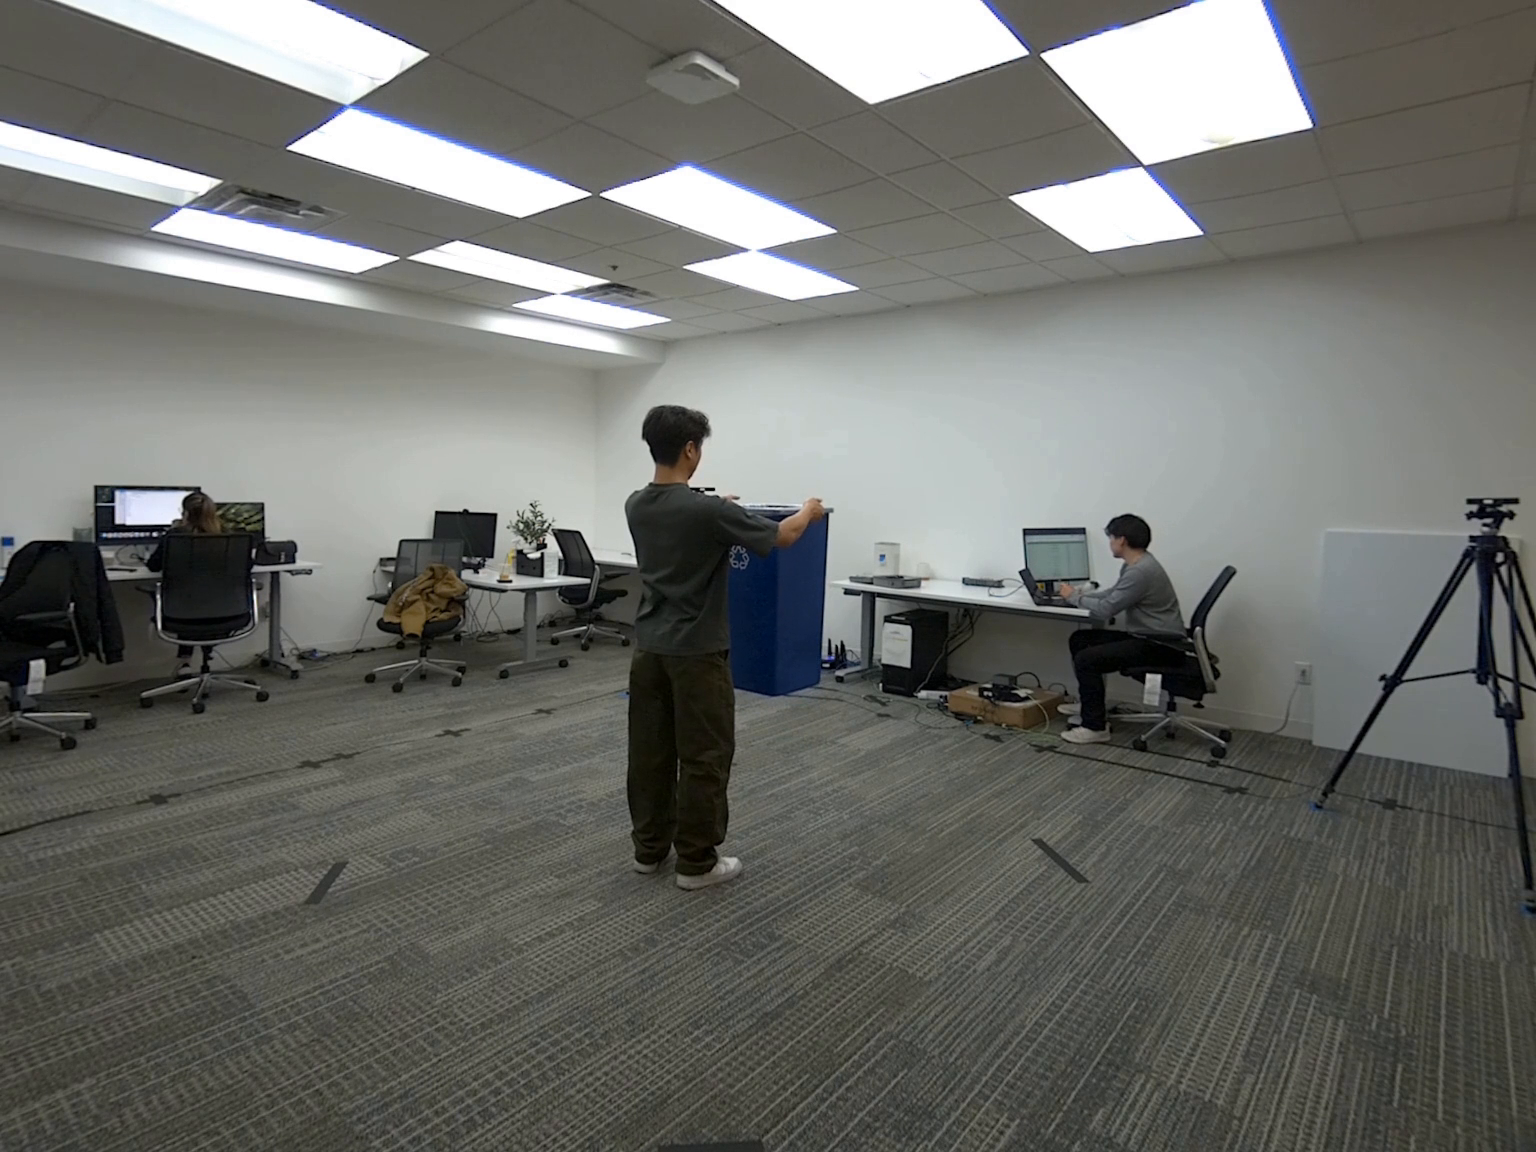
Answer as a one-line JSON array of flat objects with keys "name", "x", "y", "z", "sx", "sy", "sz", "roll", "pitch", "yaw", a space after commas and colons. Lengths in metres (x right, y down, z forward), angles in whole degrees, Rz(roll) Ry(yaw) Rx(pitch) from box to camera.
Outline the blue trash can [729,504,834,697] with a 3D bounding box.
[{"name": "blue trash can", "x": 0.002, "y": 0.076, "z": 3.392, "sx": 0.391, "sy": 0.710, "sz": 0.363, "roll": 5, "pitch": 6, "yaw": 39}]
